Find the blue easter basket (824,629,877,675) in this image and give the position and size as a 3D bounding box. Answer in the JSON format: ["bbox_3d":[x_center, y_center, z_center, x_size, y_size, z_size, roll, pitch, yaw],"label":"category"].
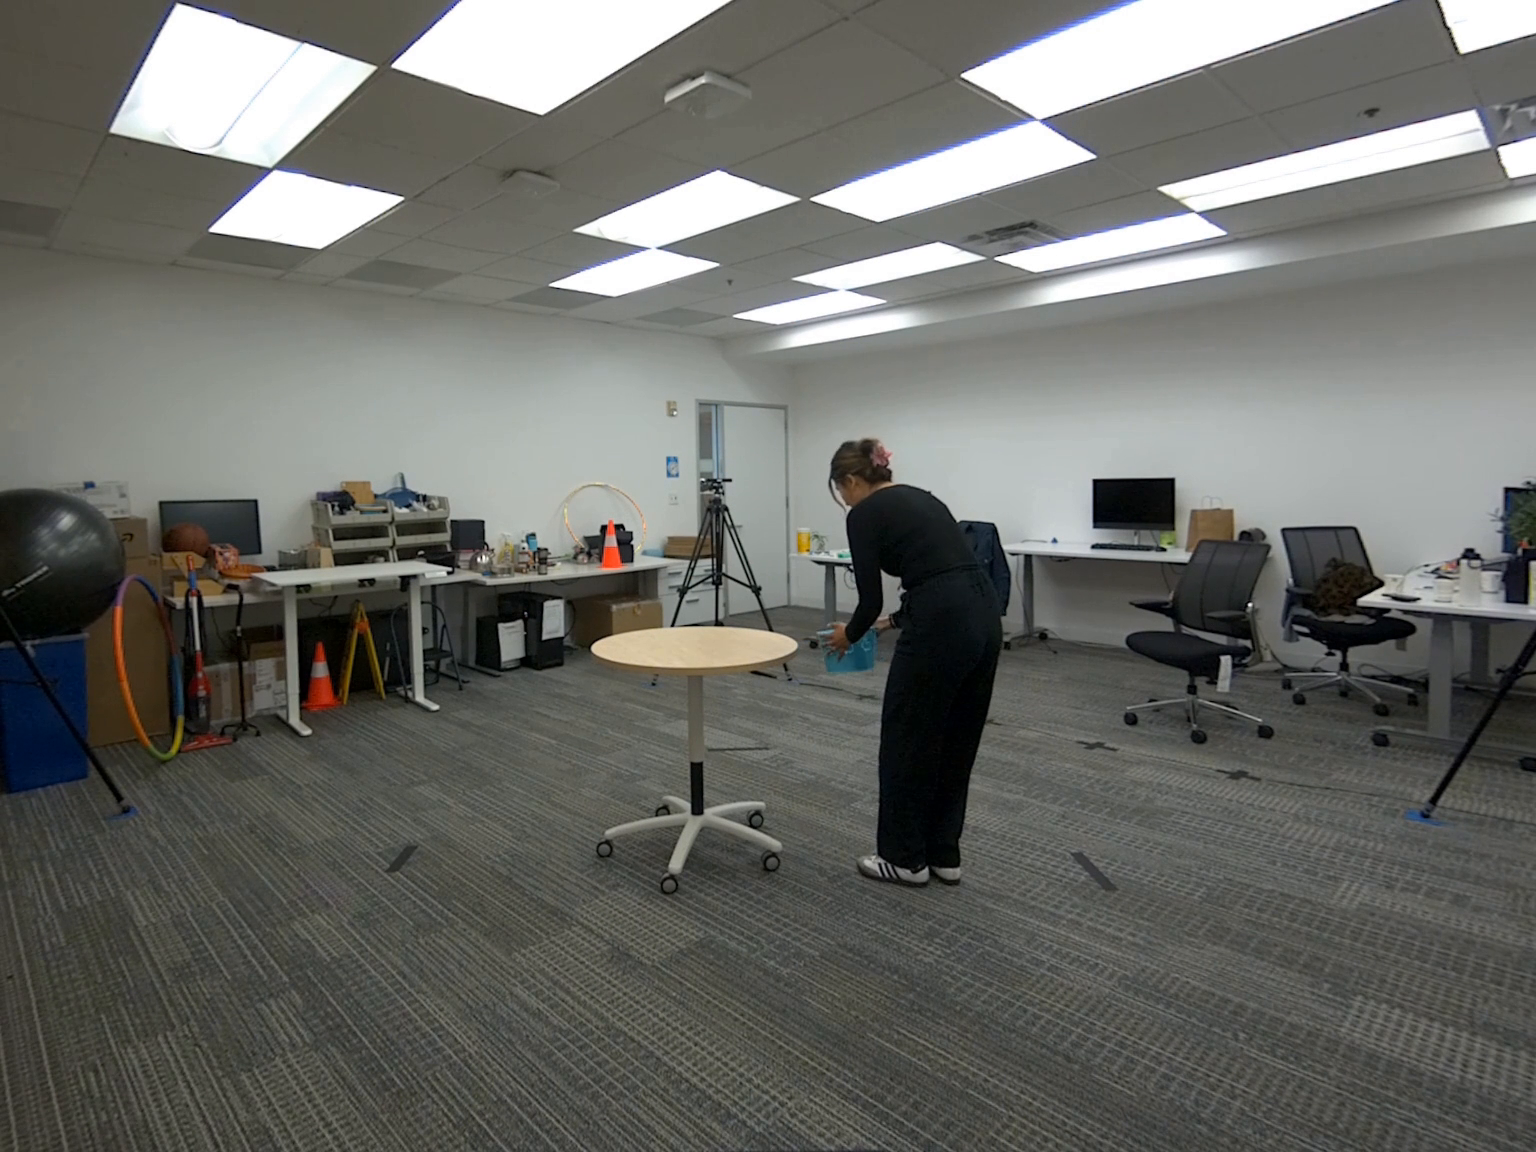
[{"bbox_3d":[0.311,0.273,3.202,0.243,0.156,0.243,-4,-1,-2],"label":"blue easter basket"}]
